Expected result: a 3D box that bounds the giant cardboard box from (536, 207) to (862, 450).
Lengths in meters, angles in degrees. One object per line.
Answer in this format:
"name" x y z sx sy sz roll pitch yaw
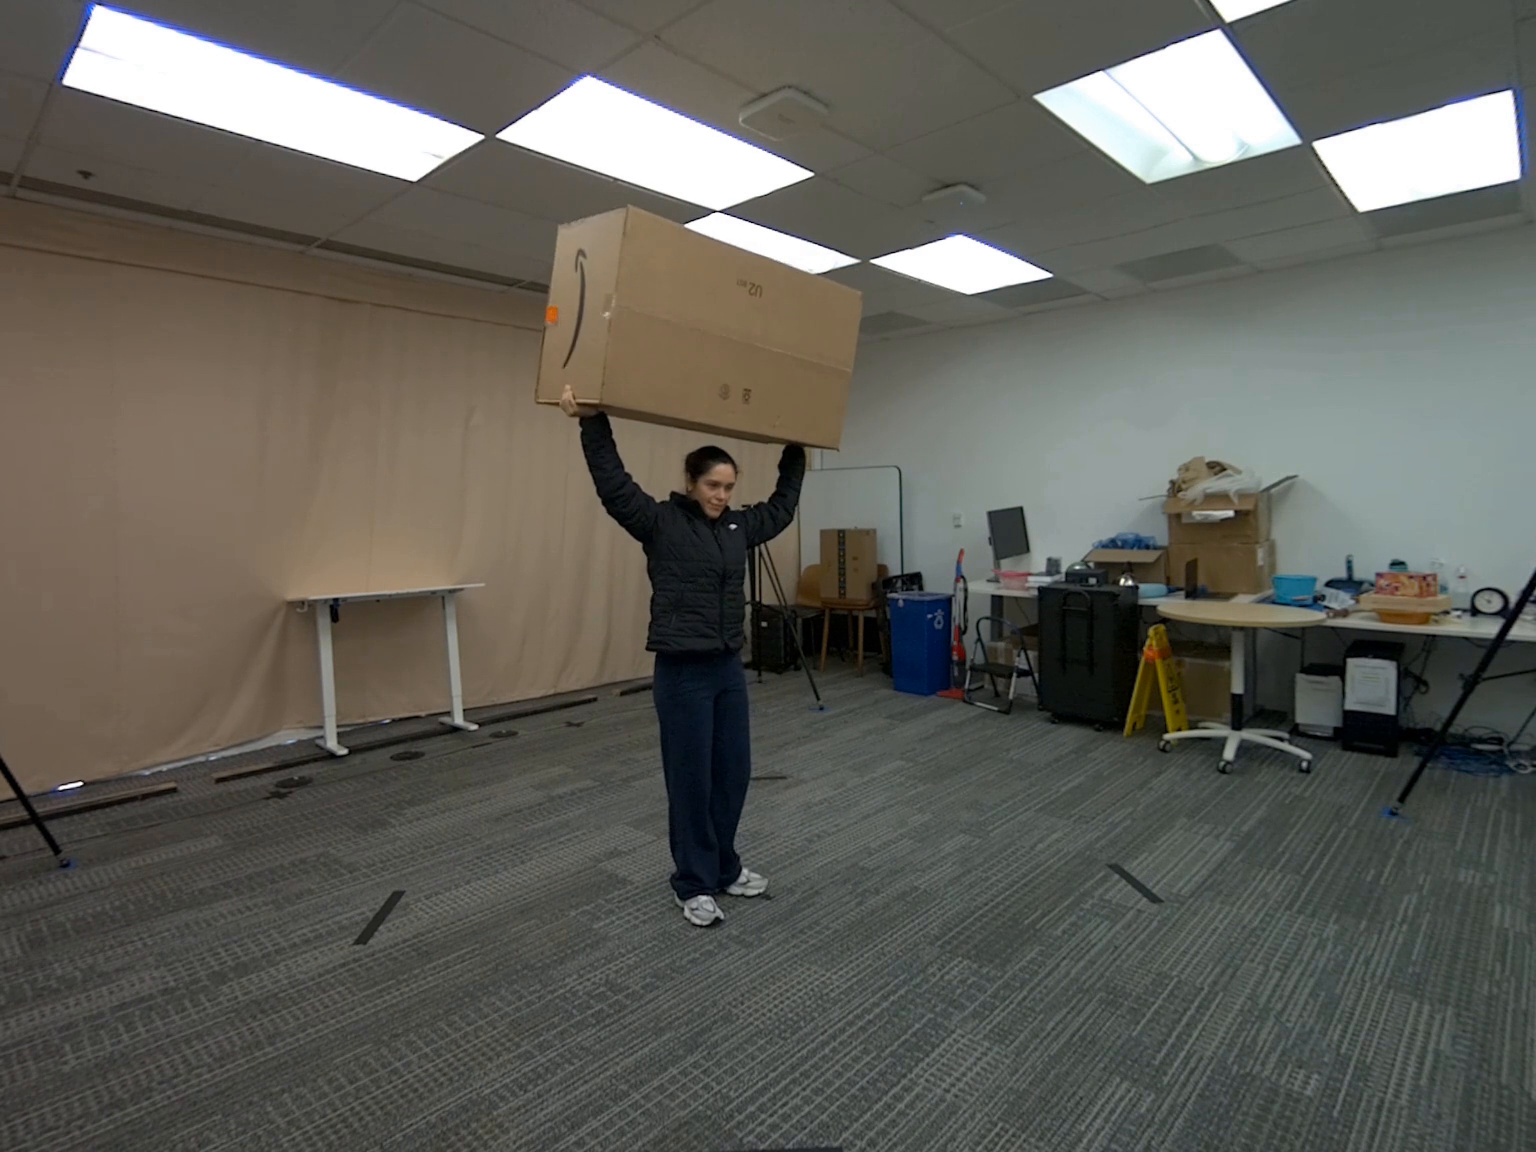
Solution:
"giant cardboard box" -0.192 -0.790 2.903 0.993 0.583 0.462 4 6 -41
